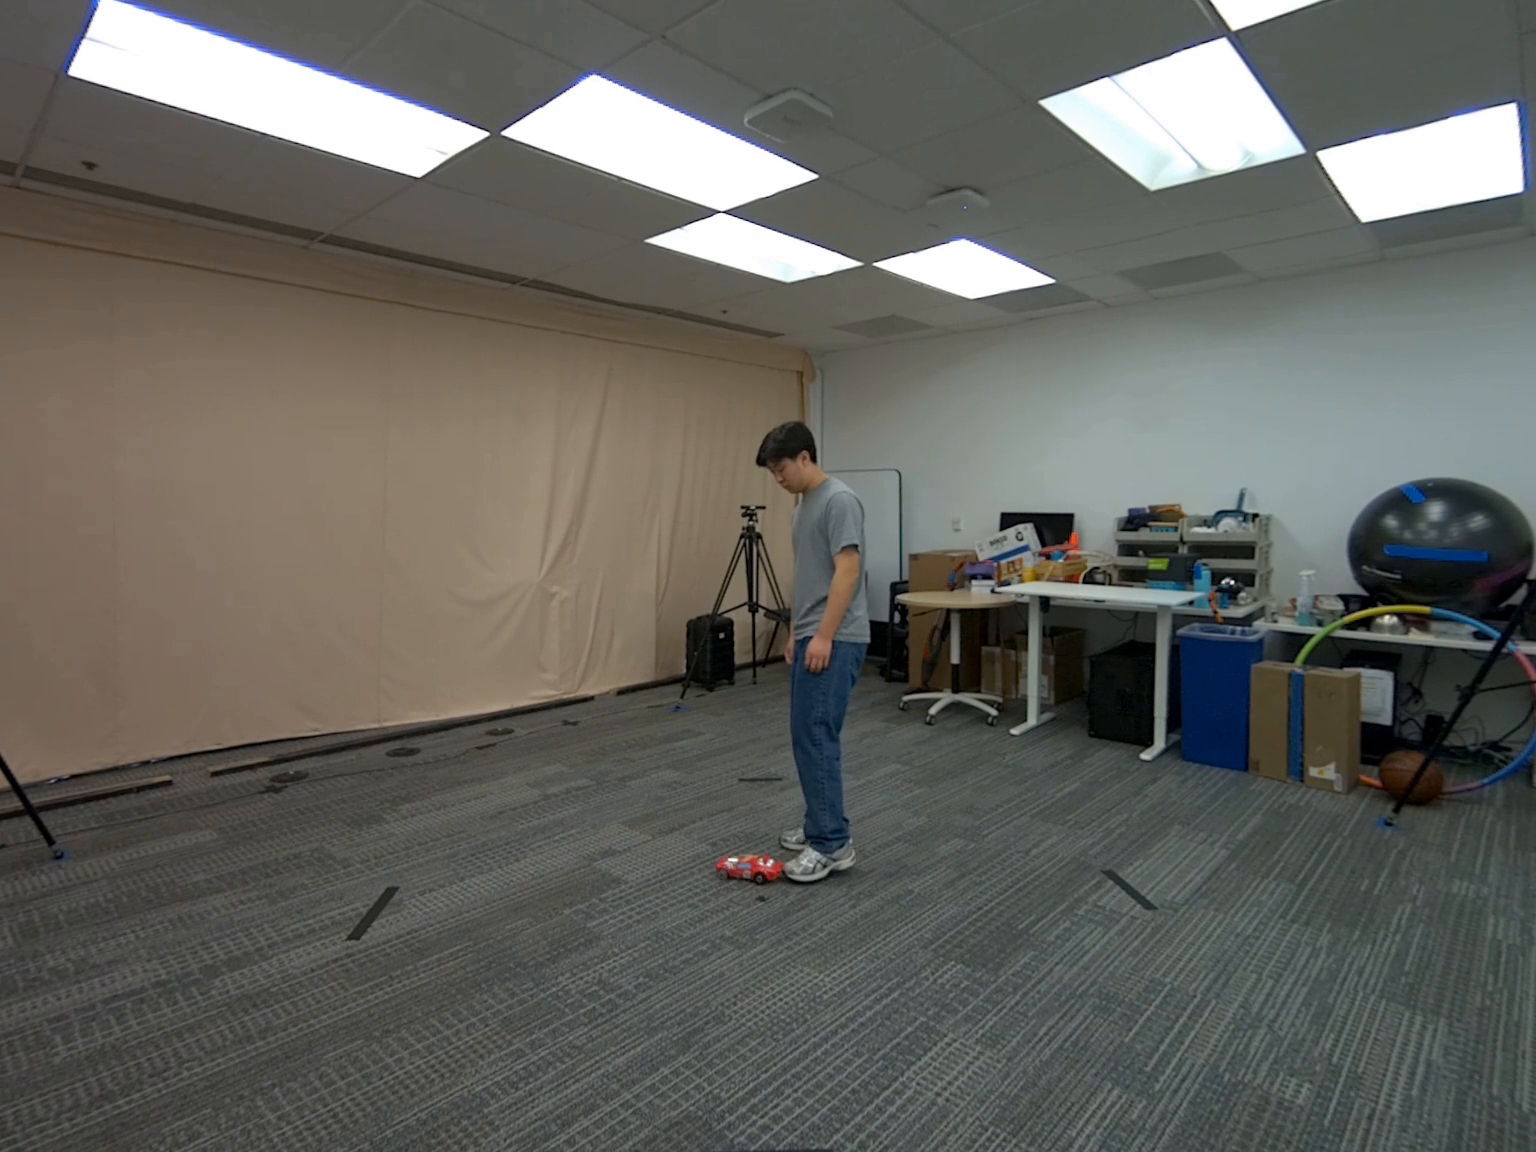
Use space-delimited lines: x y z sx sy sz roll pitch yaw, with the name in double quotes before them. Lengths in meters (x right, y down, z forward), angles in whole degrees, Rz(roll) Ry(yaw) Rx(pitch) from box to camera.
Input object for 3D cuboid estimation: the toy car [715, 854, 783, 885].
"toy car" -0.063 1.101 3.159 0.259 0.083 0.128 -11 1 18
